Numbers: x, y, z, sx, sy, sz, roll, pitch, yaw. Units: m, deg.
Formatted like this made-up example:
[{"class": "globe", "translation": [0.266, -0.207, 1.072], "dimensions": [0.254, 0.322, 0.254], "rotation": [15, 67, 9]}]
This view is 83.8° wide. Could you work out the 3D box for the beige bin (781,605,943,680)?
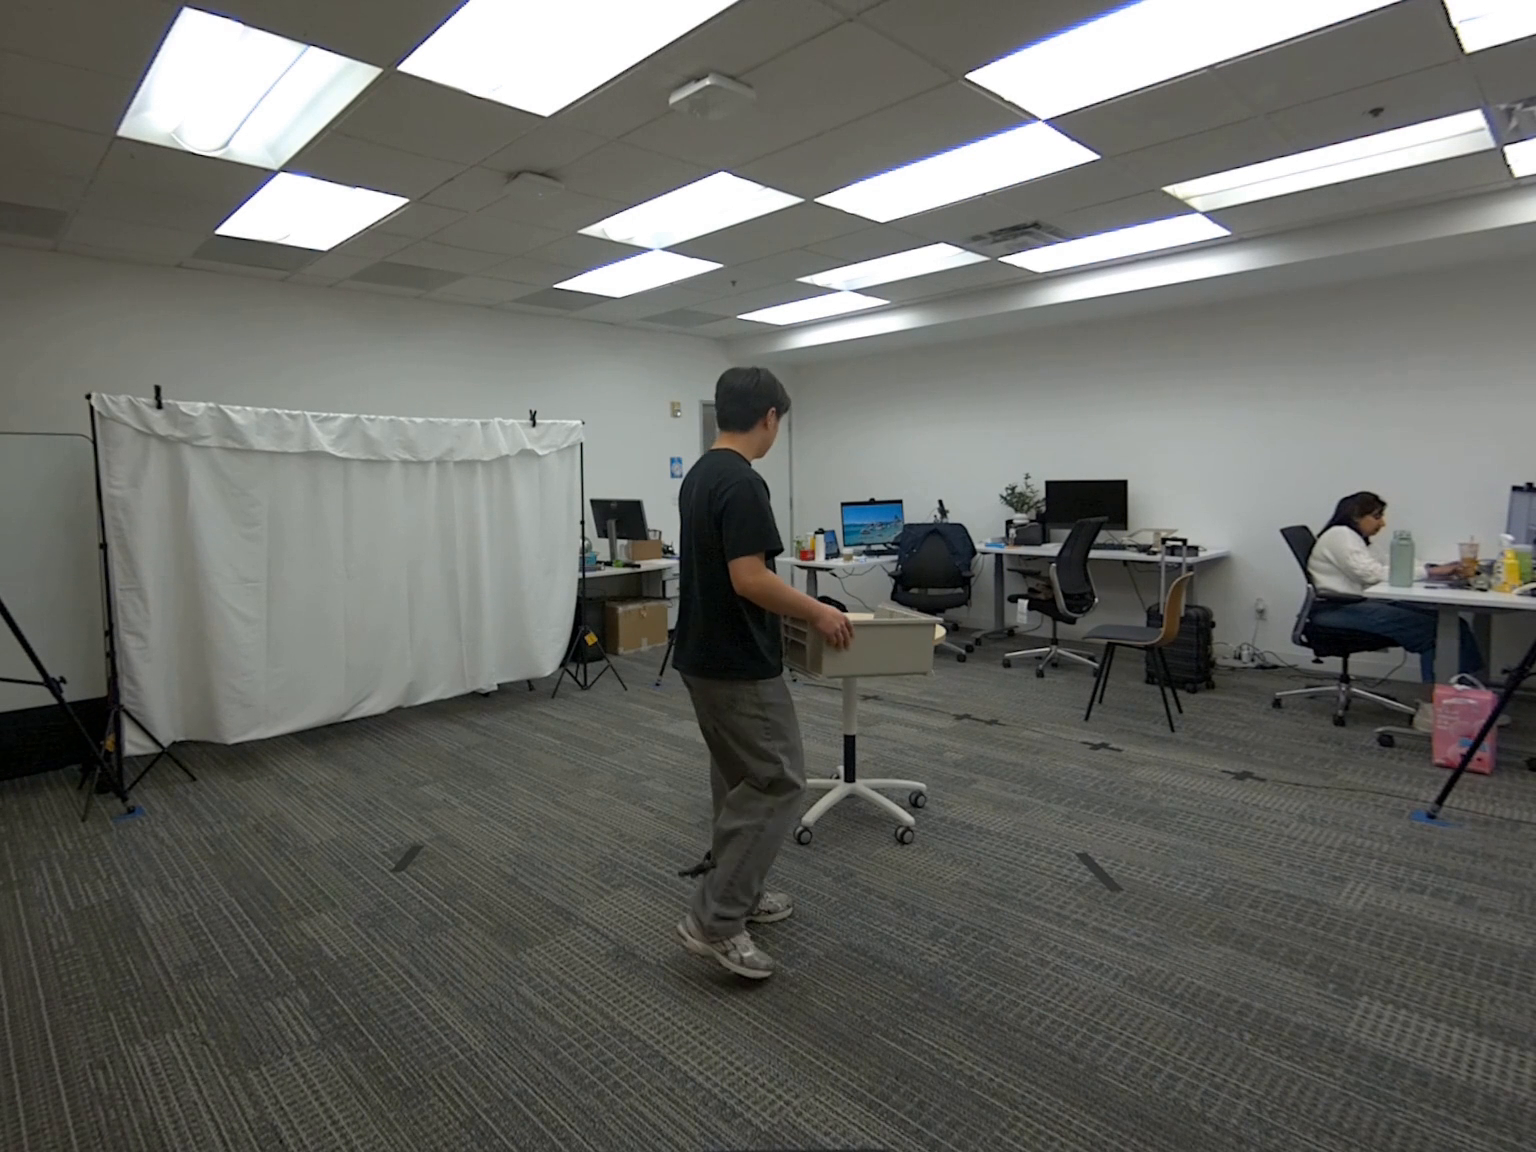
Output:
[{"class": "beige bin", "translation": [0.256, 0.201, 2.688], "dimensions": [0.413, 0.188, 0.387], "rotation": [1, 6, -24]}]
